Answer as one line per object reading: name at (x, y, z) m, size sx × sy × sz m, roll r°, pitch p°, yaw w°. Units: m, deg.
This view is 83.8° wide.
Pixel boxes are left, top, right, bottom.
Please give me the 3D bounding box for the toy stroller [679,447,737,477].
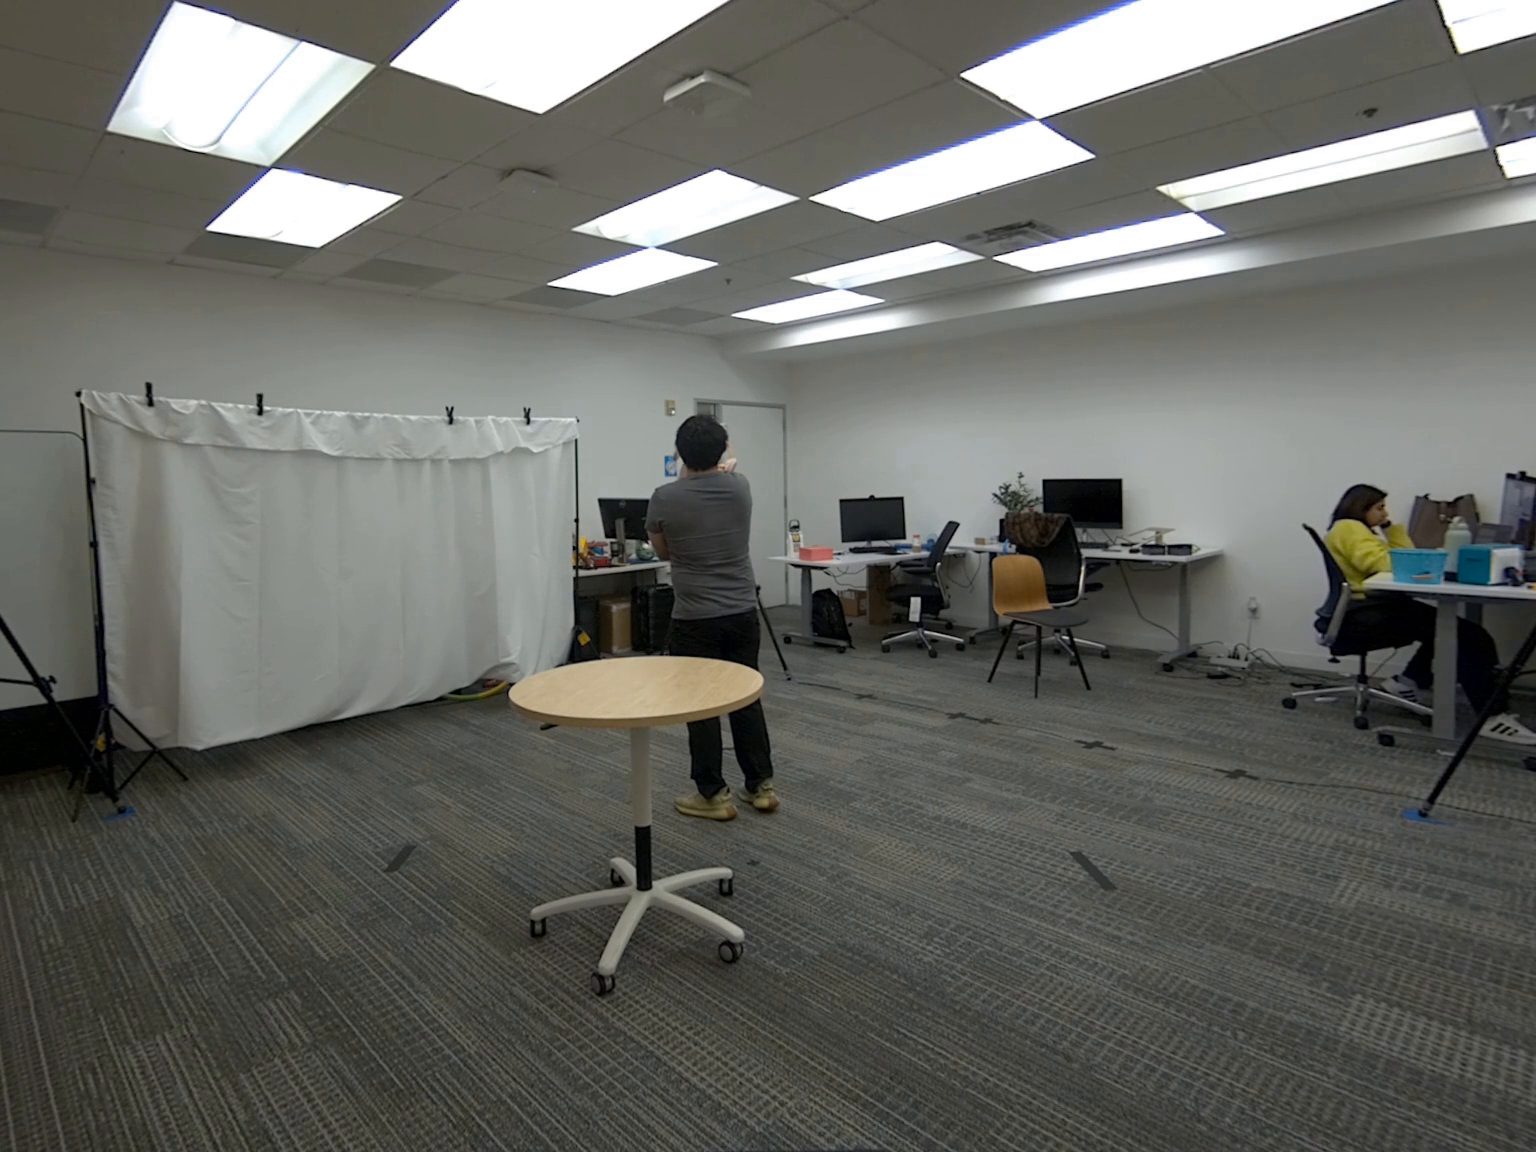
toy stroller at (-0.324, -0.431, 3.959) m, size 0.281 × 0.530 × 0.345 m, roll 21°, pitch 22°, yaw -3°
